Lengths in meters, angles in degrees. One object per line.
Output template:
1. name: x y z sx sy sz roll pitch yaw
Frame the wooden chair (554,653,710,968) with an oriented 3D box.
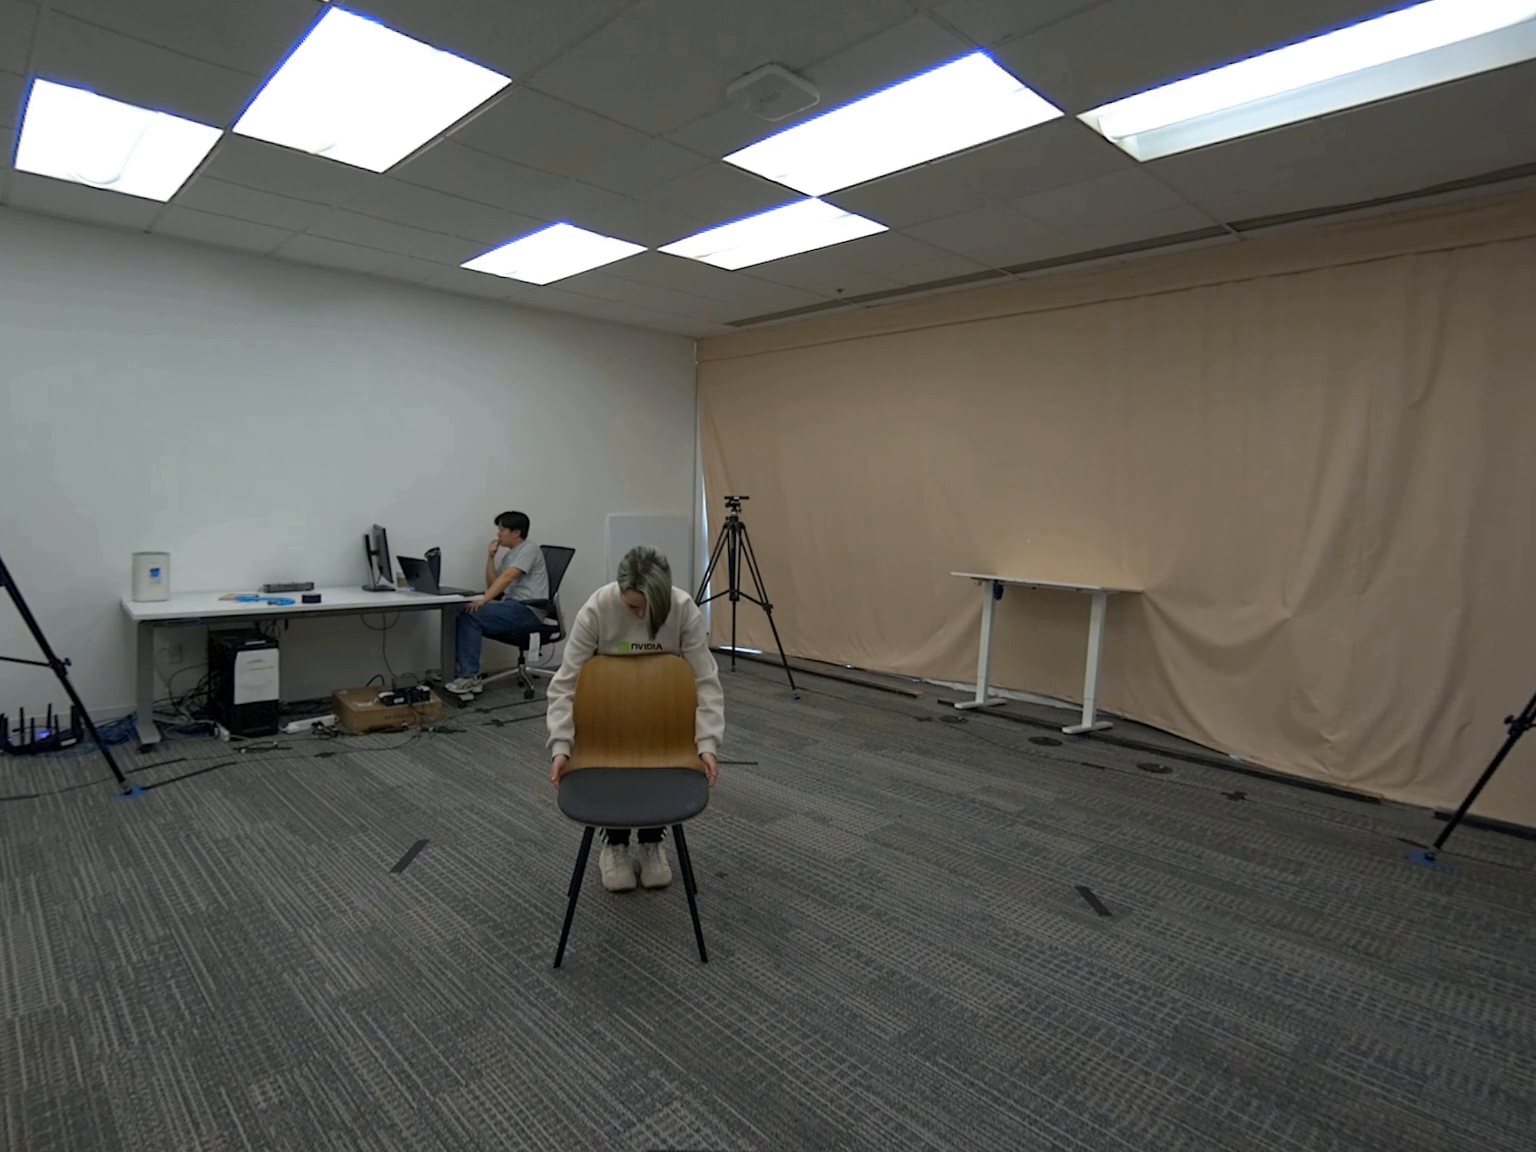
1. wooden chair: -0.423 0.712 2.658 0.475 0.878 0.526 1 0 -9
